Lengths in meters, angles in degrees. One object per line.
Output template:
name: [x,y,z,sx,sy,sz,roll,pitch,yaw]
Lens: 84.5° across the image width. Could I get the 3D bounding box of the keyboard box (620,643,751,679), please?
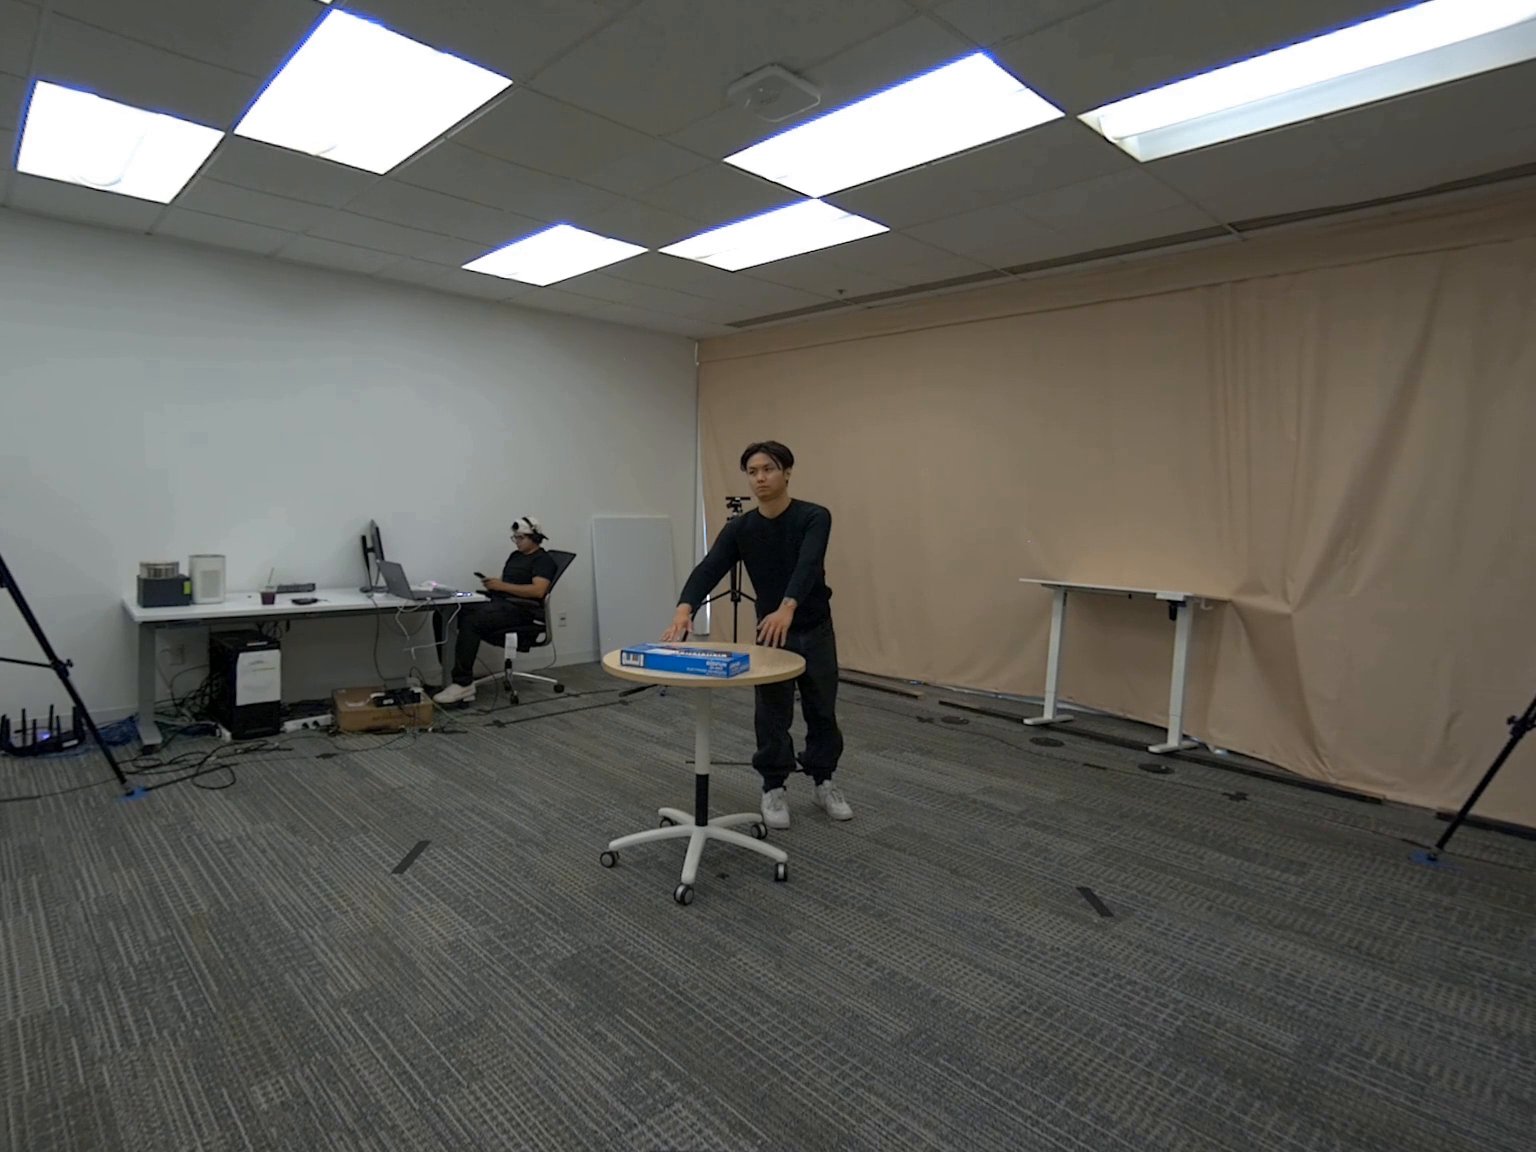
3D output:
keyboard box: [-0.308,0.301,3.005,0.445,0.059,0.173,3,5,26]
